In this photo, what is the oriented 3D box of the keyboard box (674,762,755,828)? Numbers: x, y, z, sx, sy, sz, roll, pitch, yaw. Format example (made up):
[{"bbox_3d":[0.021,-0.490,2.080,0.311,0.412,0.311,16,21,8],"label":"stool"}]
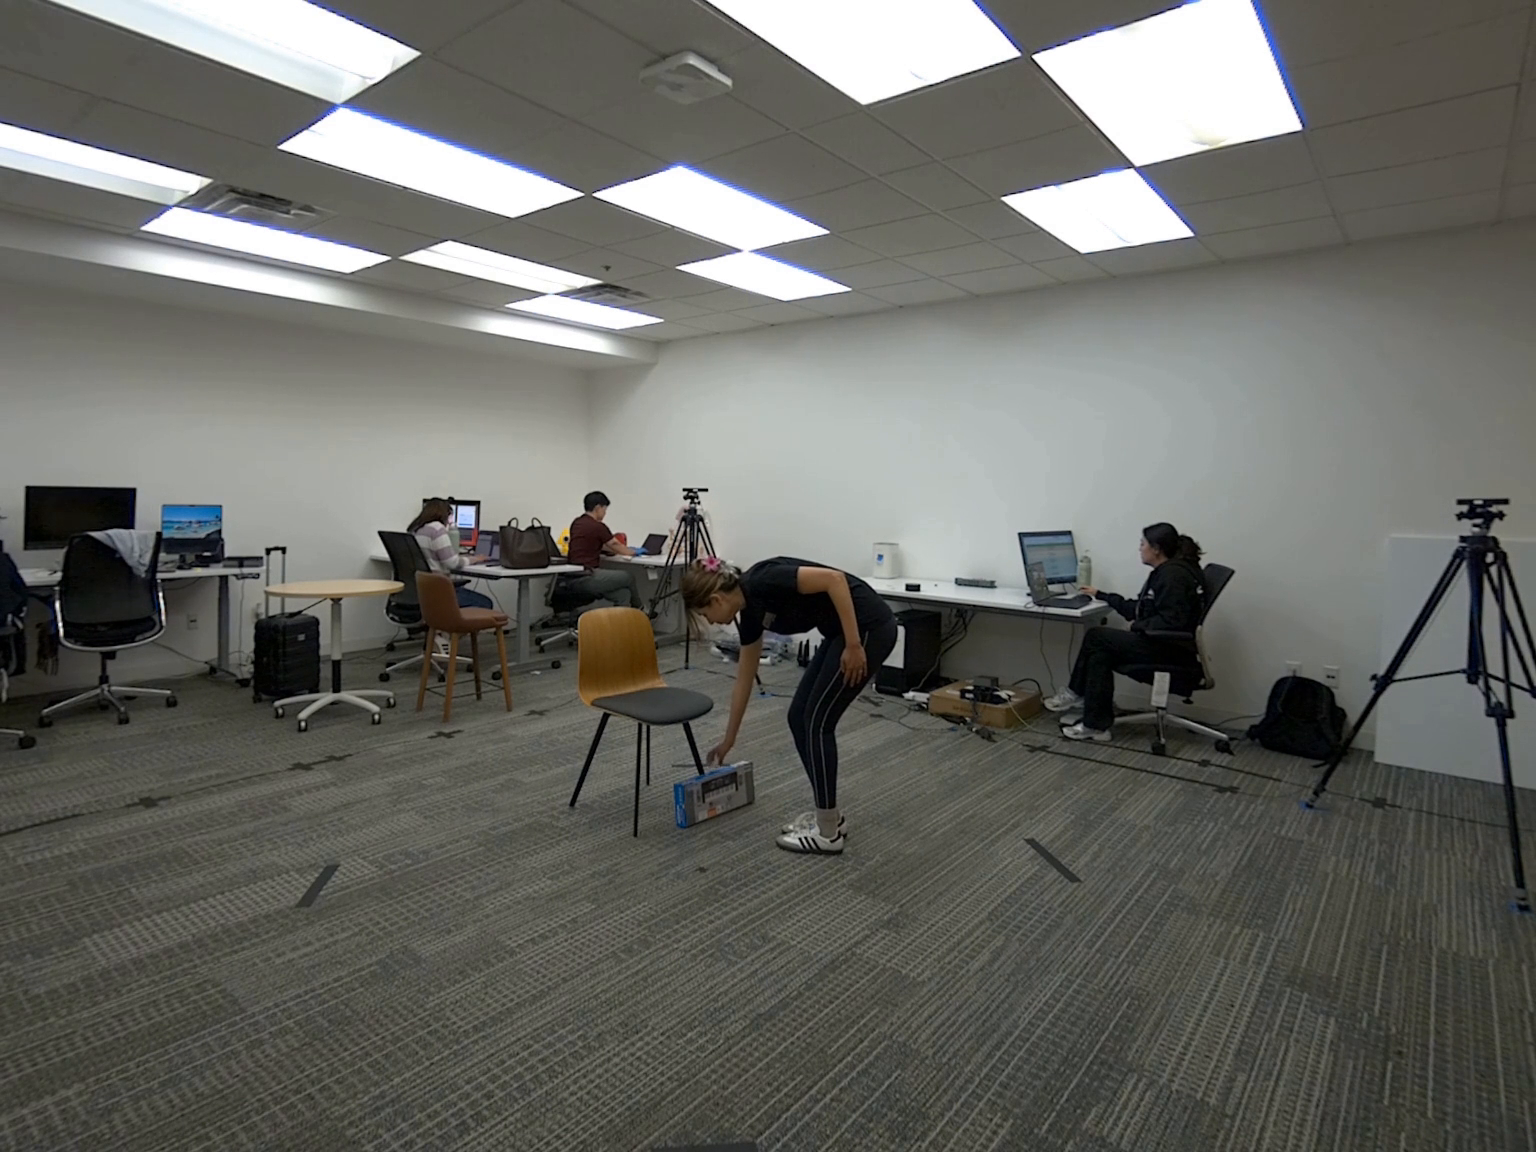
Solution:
[{"bbox_3d":[-0.230,0.931,3.659,0.061,0.176,0.424,-5,0,42],"label":"keyboard box"}]
